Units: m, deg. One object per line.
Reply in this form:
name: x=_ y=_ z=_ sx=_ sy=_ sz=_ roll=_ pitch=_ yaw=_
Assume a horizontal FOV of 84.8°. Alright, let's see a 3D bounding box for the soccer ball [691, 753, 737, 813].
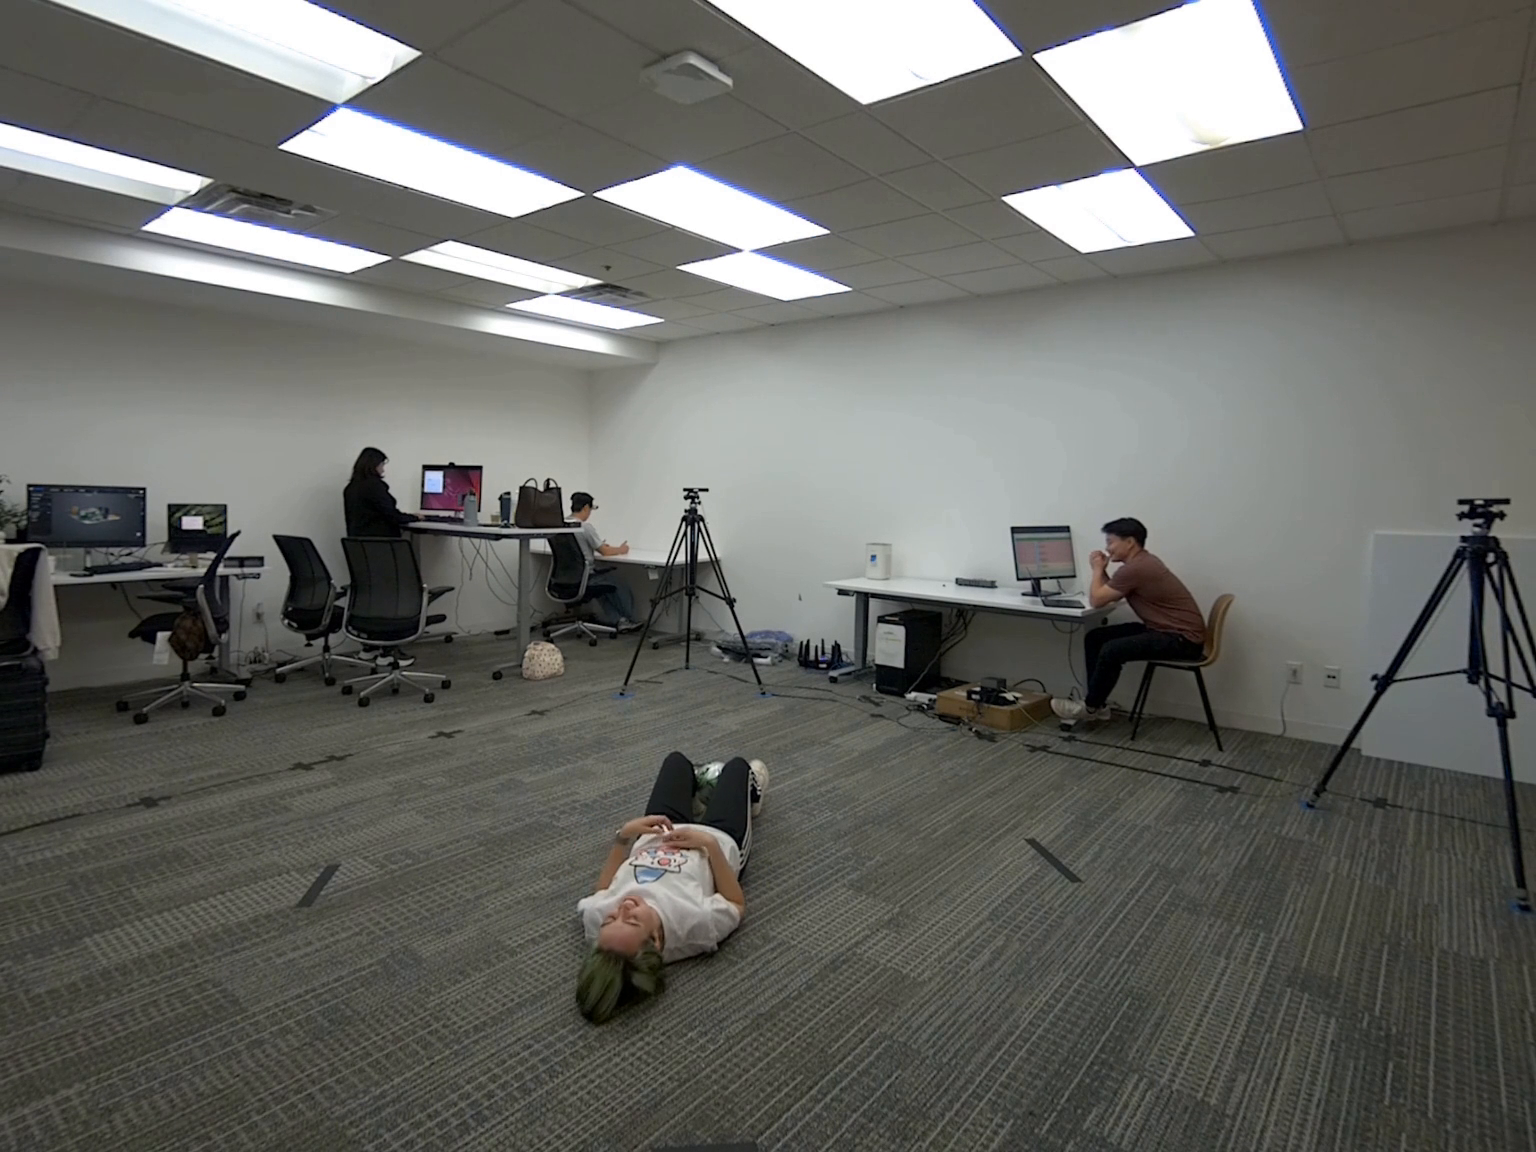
soccer ball: x=-0.229 y=0.867 z=3.528 sx=0.187 sy=0.187 sz=0.188 roll=1 pitch=4 yaw=-2
